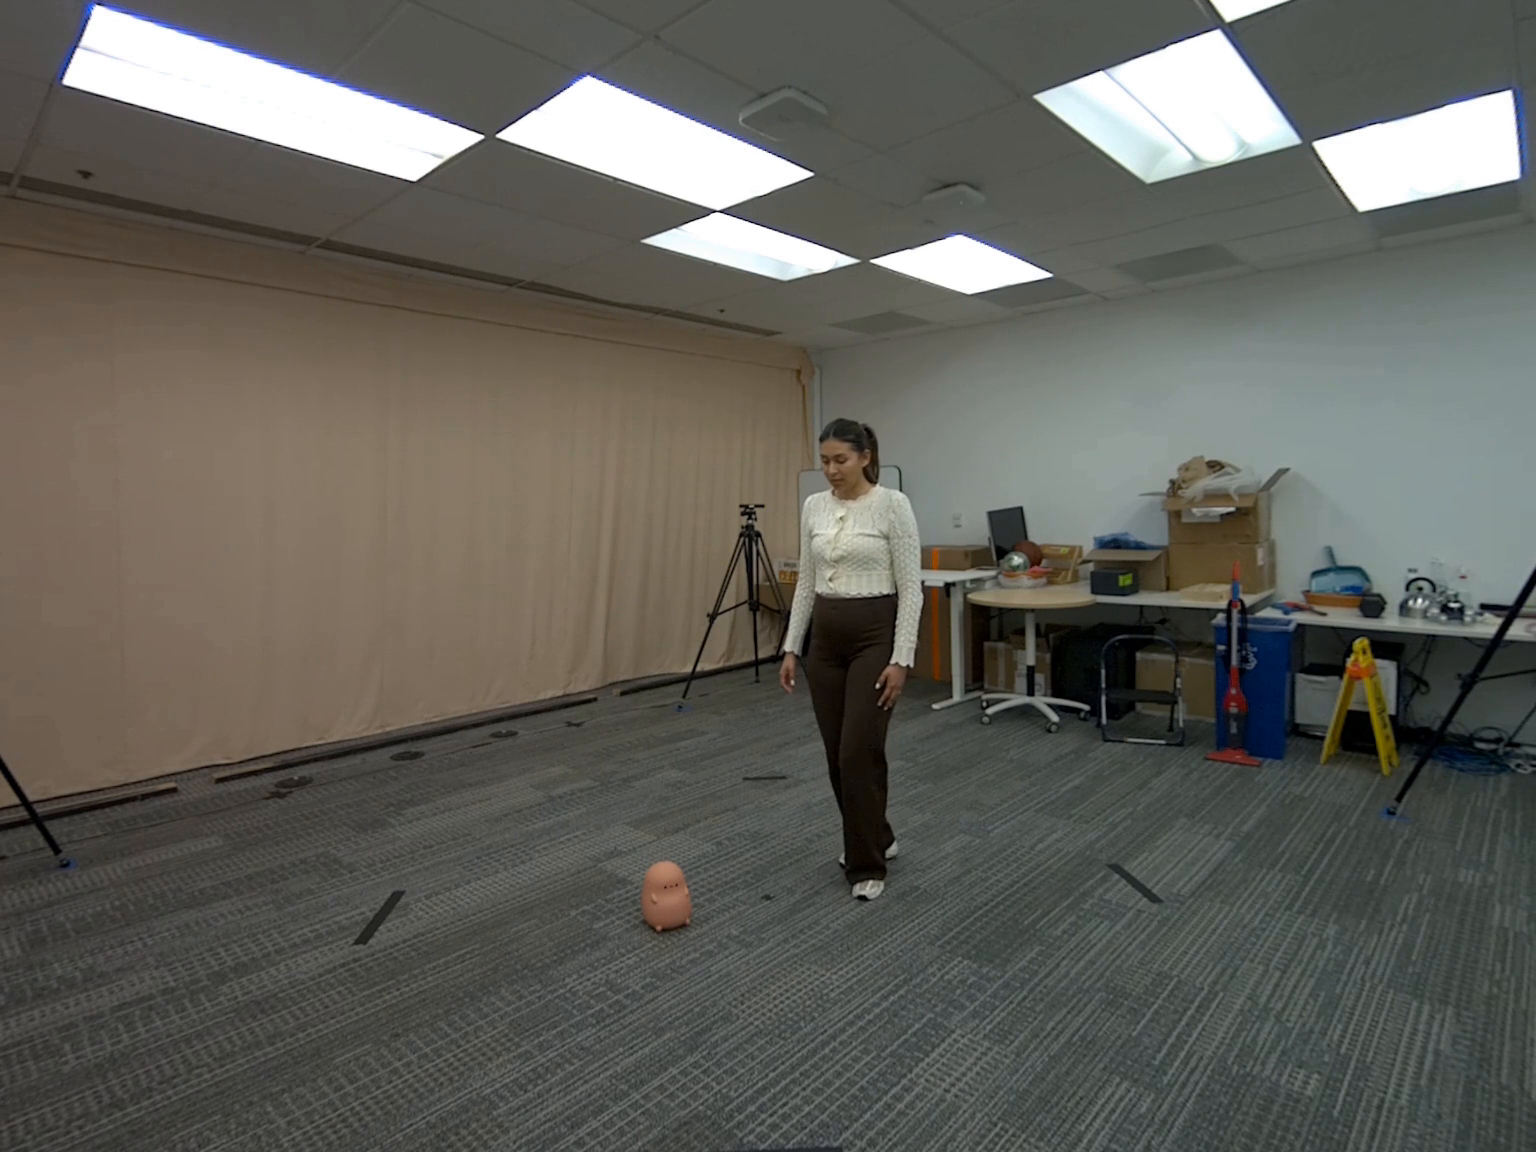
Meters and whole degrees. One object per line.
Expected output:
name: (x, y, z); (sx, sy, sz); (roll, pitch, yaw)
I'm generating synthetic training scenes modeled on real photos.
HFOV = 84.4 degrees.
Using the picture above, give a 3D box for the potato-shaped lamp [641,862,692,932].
potato-shaped lamp: (-0.339, 1.056, 2.817); (0.161, 0.198, 0.175); (-1, -1, -25)
